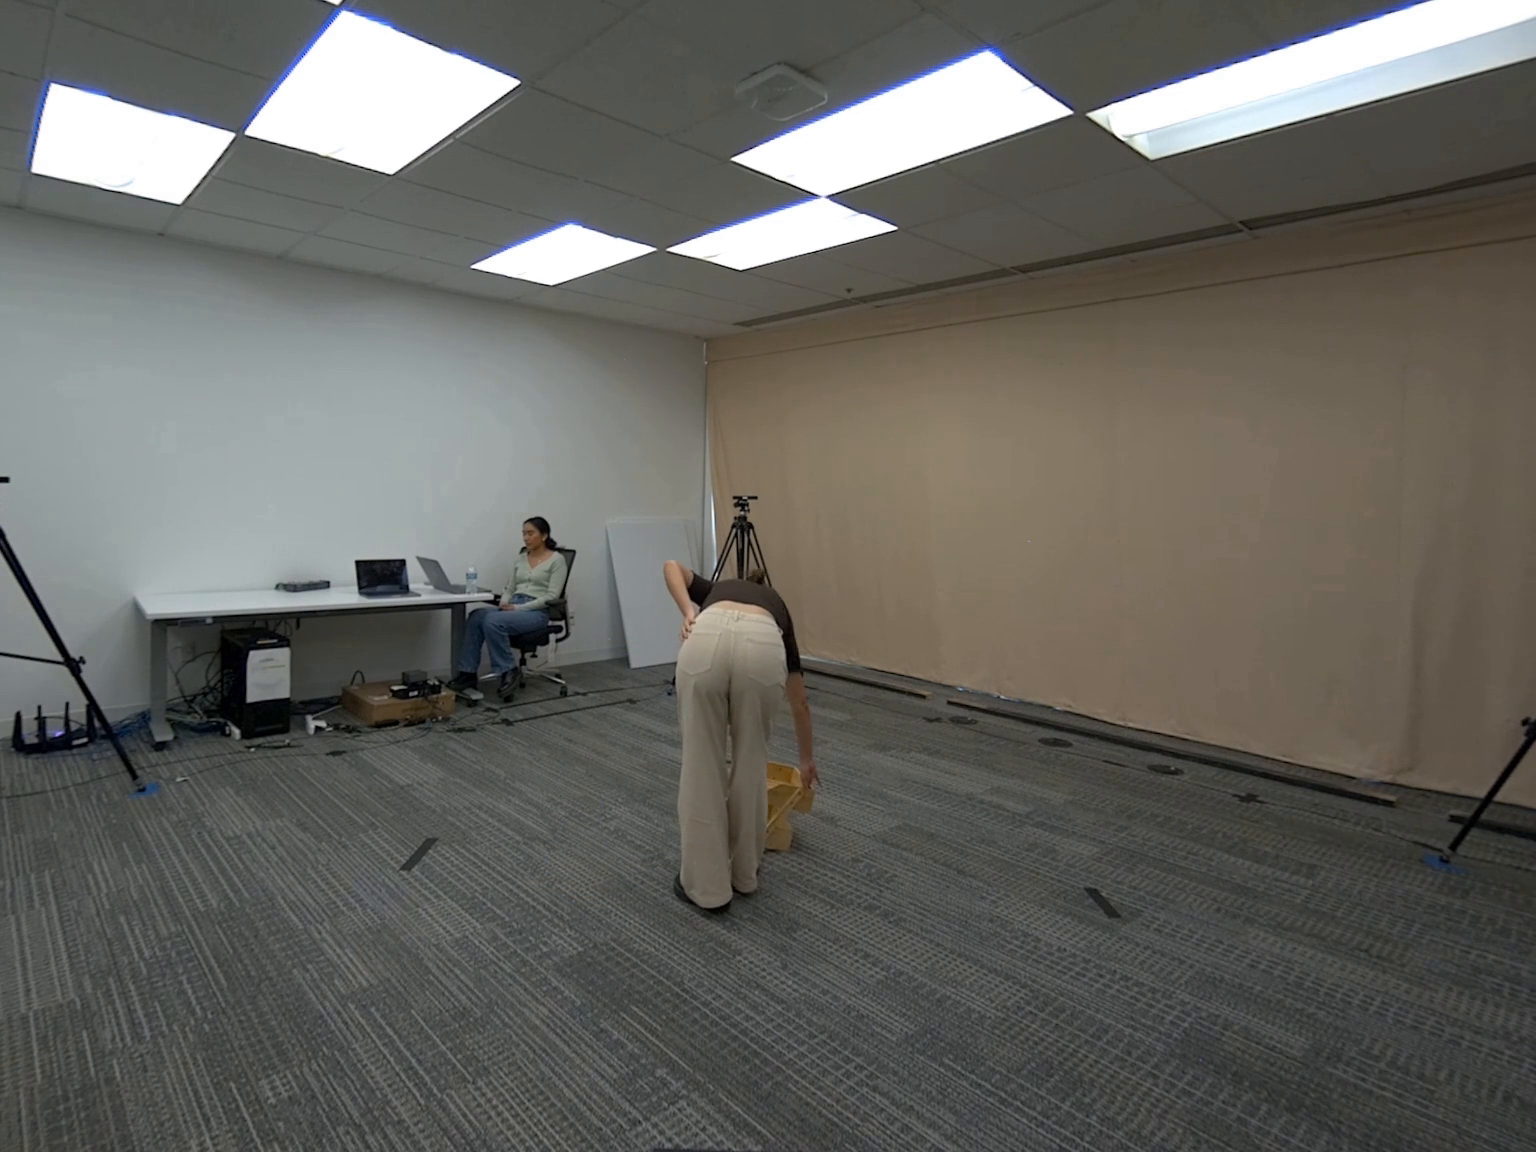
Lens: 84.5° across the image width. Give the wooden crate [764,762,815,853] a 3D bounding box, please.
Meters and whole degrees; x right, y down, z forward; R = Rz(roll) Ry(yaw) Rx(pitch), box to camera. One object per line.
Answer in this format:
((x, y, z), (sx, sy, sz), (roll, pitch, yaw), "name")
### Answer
((-0.023, 0.928, 3.457), (0.299, 0.273, 0.327), (13, 1, -10), "wooden crate")
